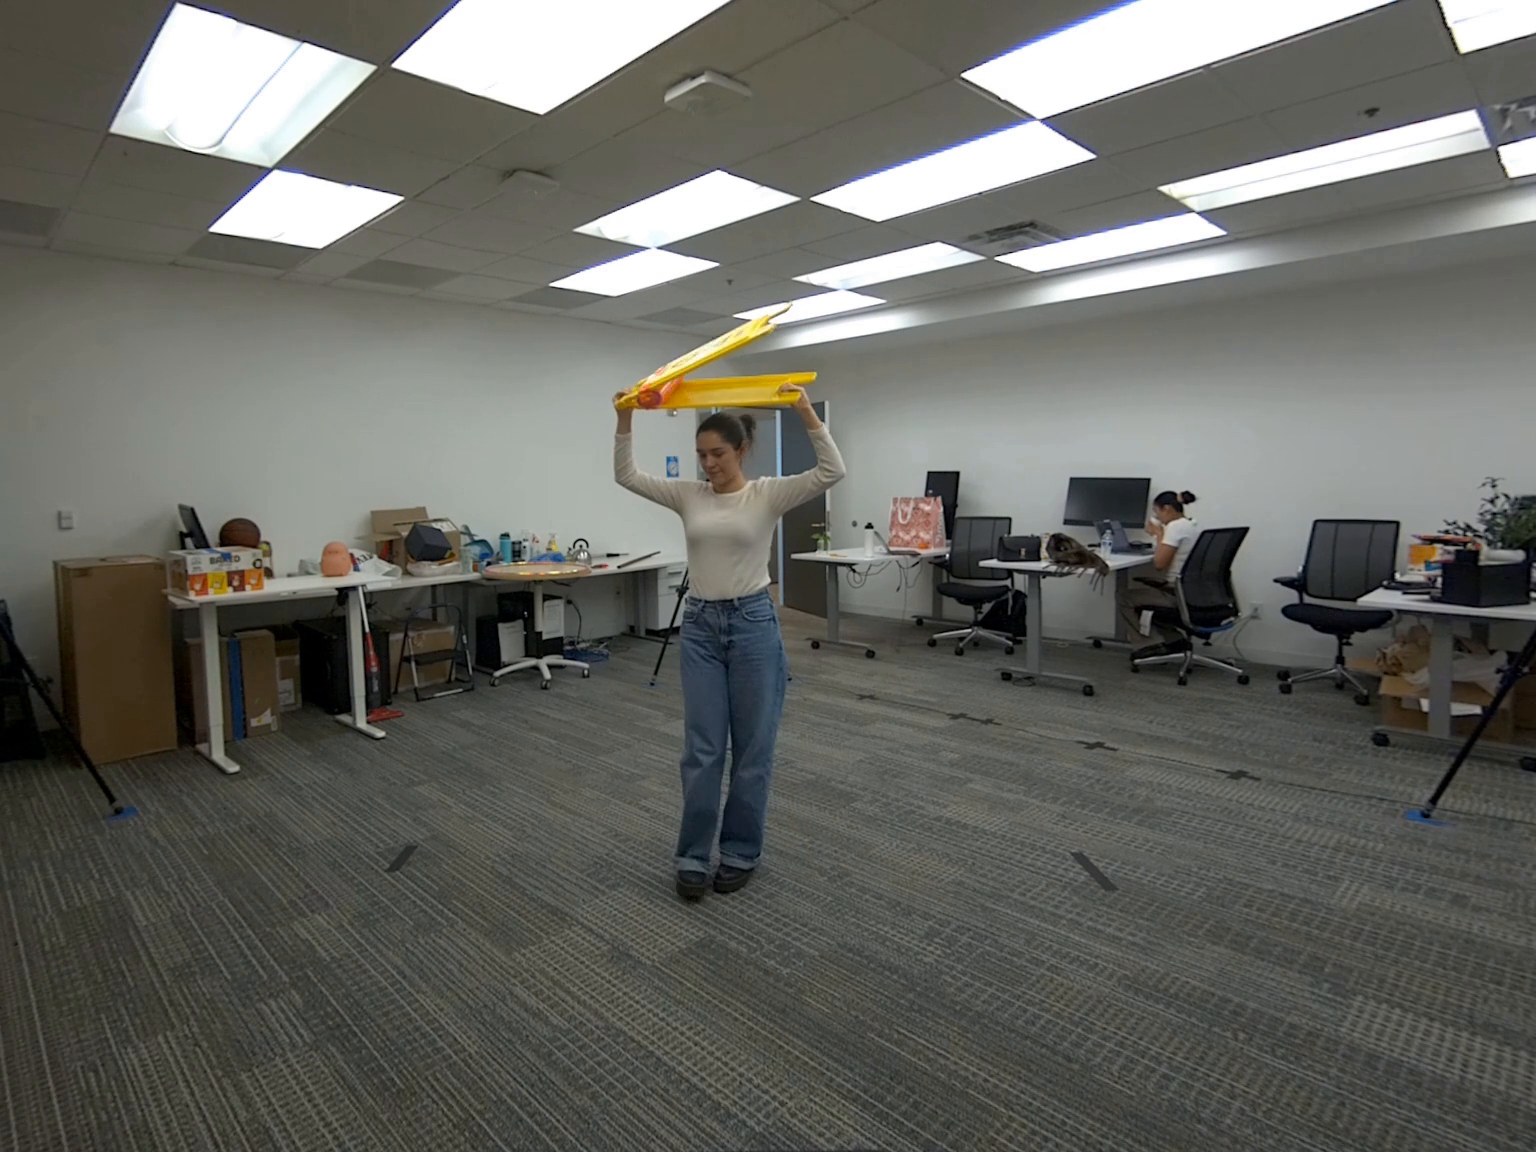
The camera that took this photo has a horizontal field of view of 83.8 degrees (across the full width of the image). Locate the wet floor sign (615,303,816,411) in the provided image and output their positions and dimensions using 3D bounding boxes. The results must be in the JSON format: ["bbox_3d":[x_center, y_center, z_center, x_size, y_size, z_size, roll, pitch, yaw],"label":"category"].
[{"bbox_3d":[-0.207,-0.669,2.852,0.659,0.282,0.284,-7,29,26],"label":"wet floor sign"}]
